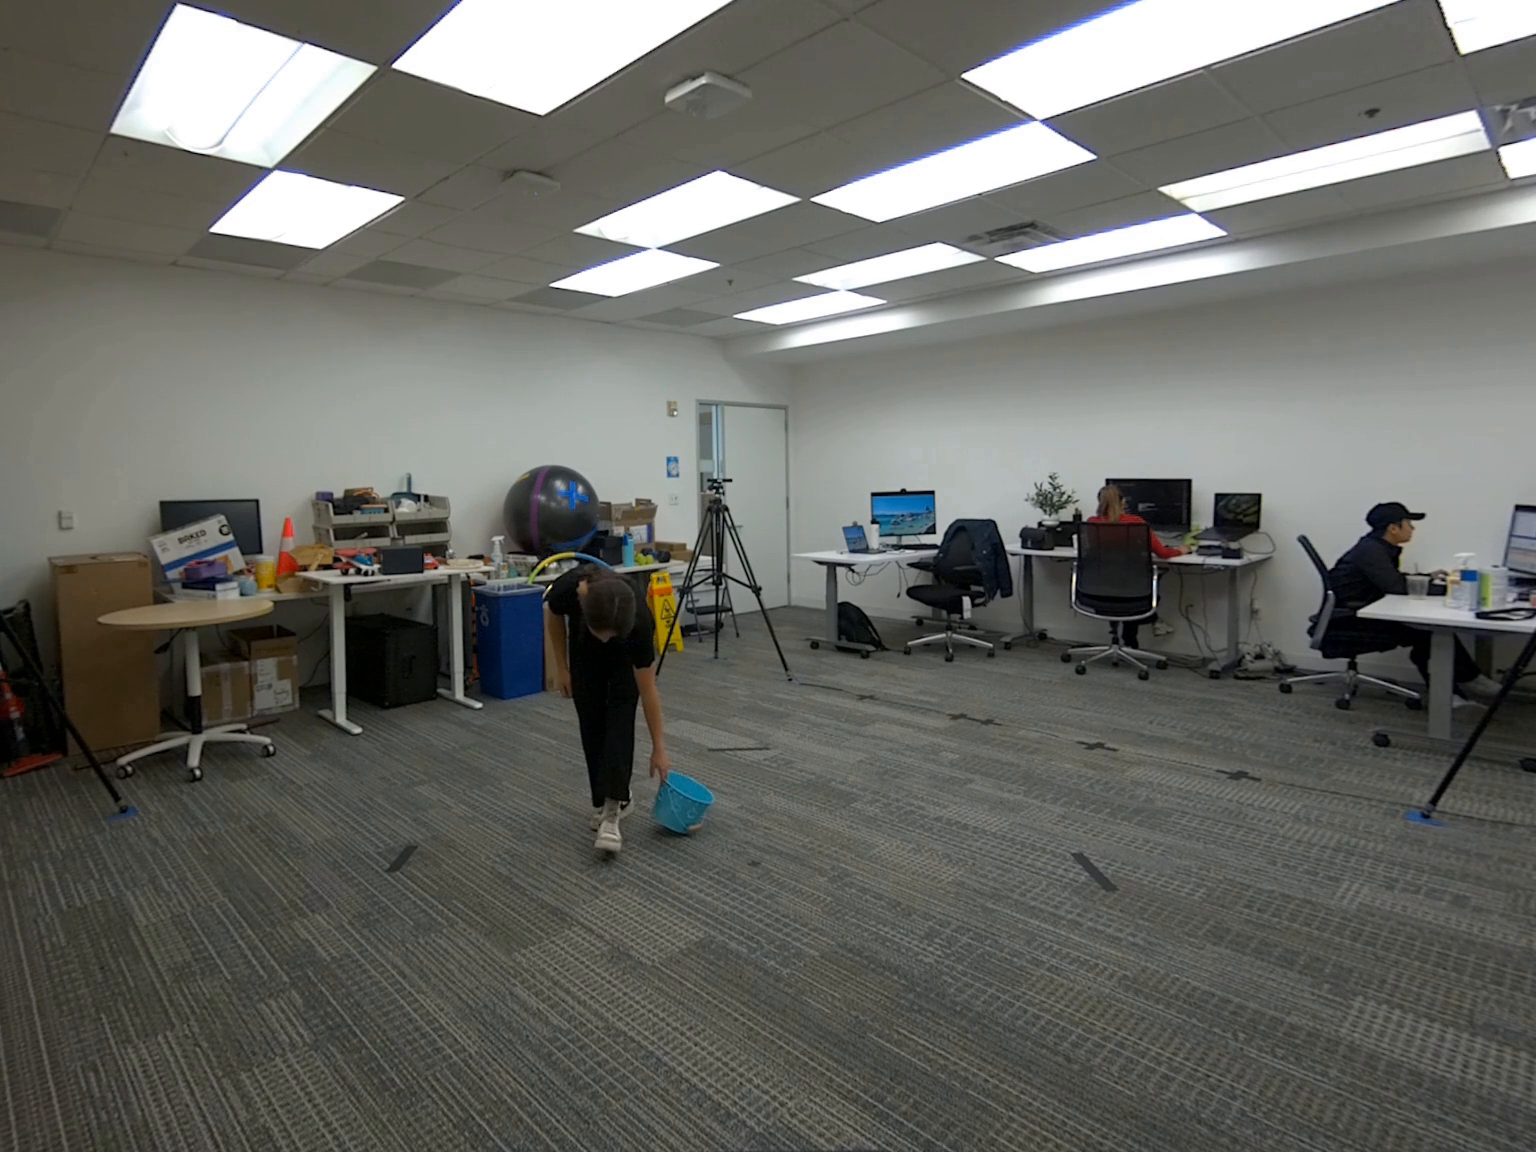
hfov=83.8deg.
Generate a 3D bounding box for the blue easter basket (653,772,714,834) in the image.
[{"bbox_3d":[-0.348,0.903,3.401,0.243,0.156,0.244,26,2,-3],"label":"blue easter basket"}]
